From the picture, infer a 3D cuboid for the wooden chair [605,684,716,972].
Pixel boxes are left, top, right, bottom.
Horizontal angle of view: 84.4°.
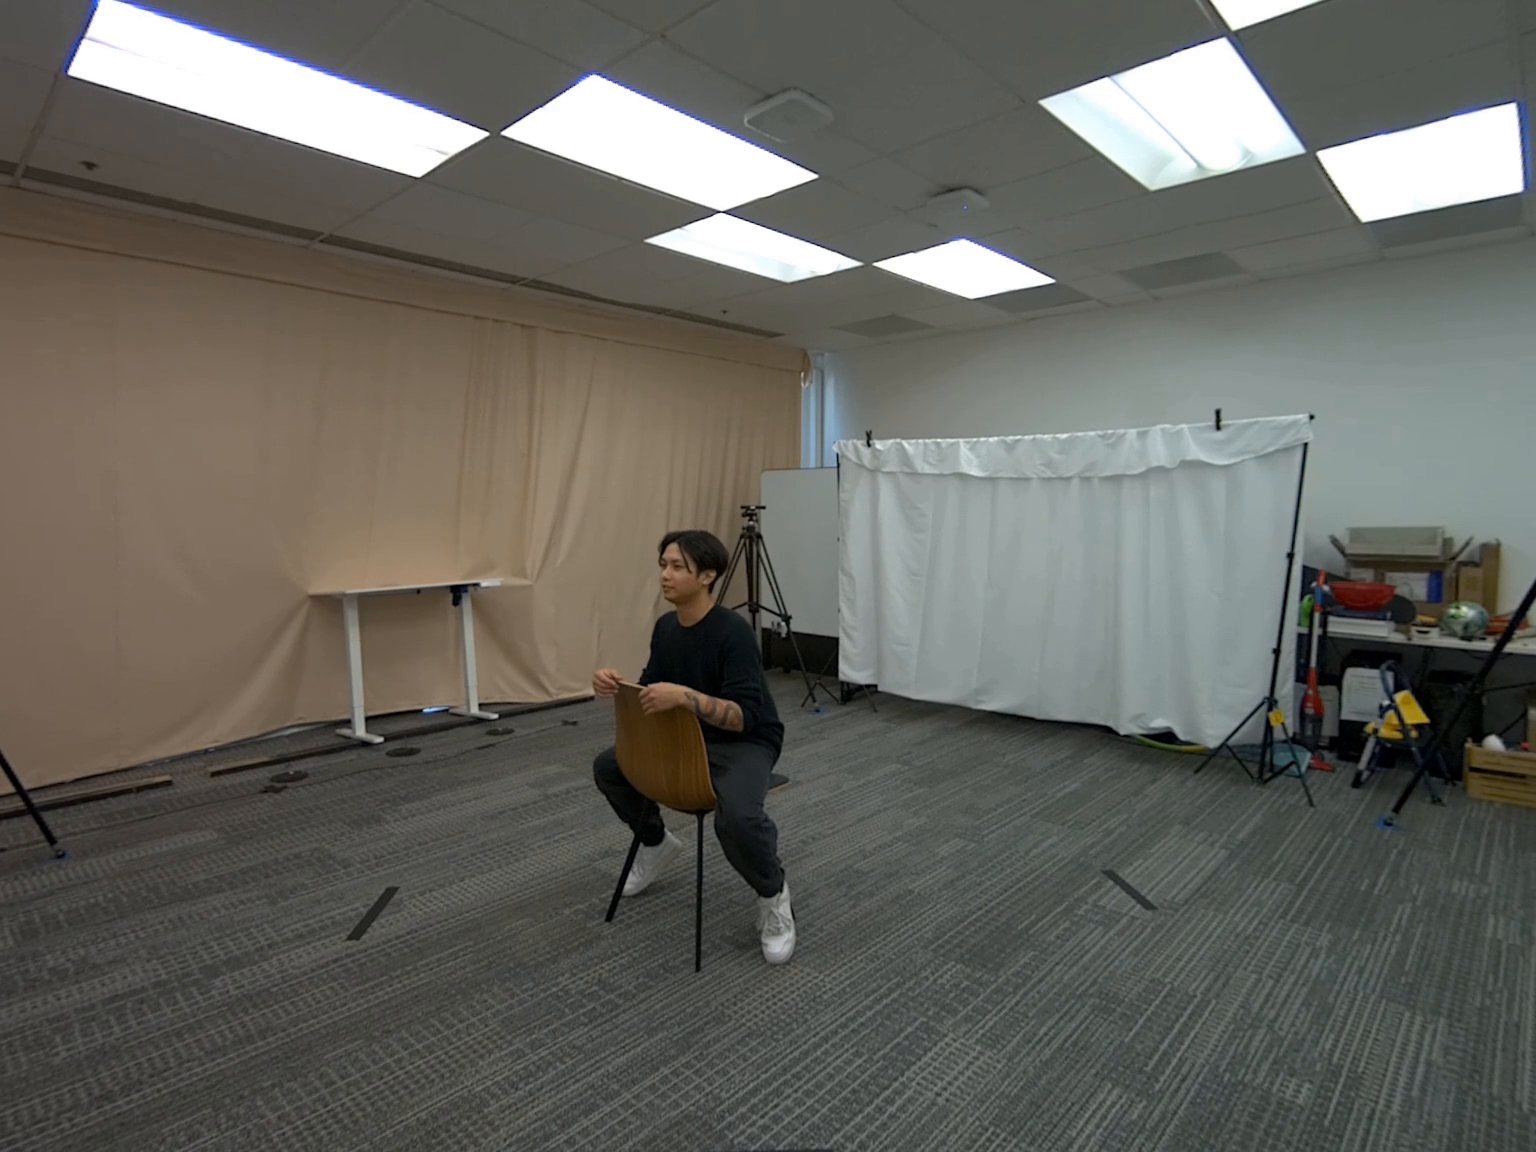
[{"bbox_3d":[-0.222,0.733,2.811,0.494,0.874,0.508,2,8,43],"label":"wooden chair"}]
